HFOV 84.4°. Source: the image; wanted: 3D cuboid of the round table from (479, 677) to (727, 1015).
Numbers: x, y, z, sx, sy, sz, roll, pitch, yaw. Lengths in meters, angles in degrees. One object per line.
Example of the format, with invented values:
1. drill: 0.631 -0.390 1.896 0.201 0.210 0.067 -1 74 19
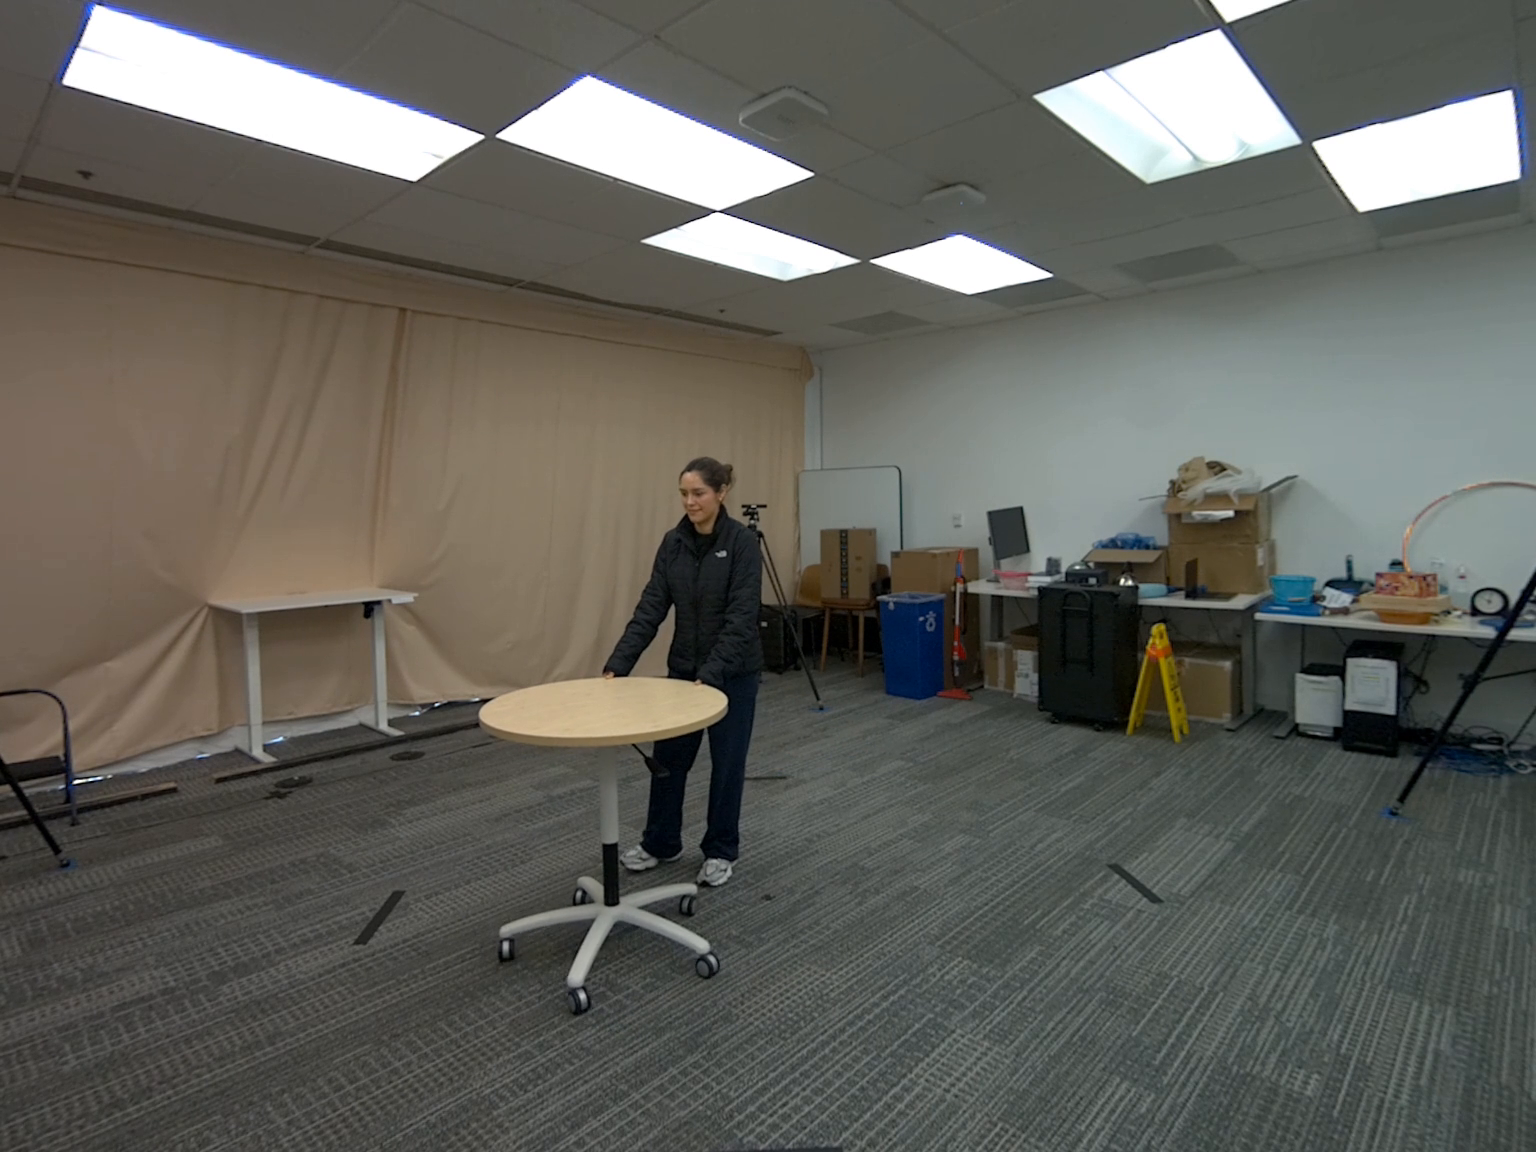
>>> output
1. round table: -0.475 0.785 2.653 0.784 0.785 0.788 -2 4 -2
